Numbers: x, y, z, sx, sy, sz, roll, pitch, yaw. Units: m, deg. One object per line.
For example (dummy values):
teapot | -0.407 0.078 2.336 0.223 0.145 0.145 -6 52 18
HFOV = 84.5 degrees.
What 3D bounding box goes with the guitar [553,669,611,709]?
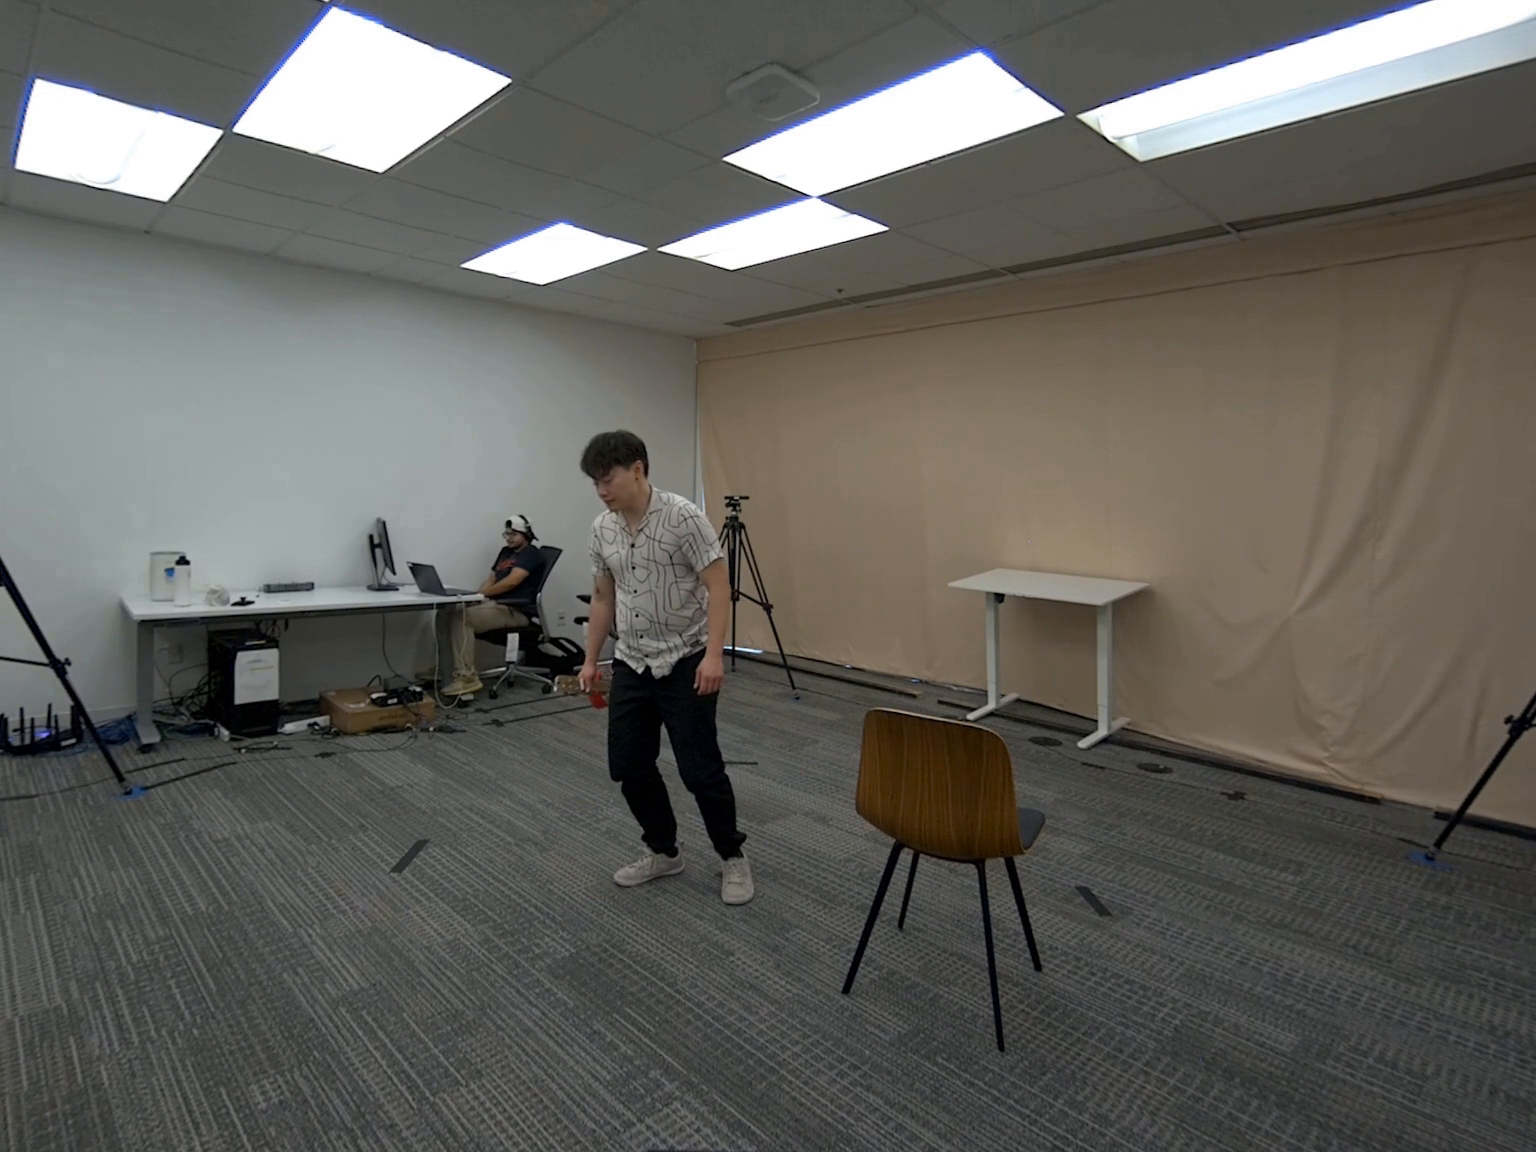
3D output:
guitar | -0.653 0.399 3.176 0.071 0.196 0.483 -18 -27 27
